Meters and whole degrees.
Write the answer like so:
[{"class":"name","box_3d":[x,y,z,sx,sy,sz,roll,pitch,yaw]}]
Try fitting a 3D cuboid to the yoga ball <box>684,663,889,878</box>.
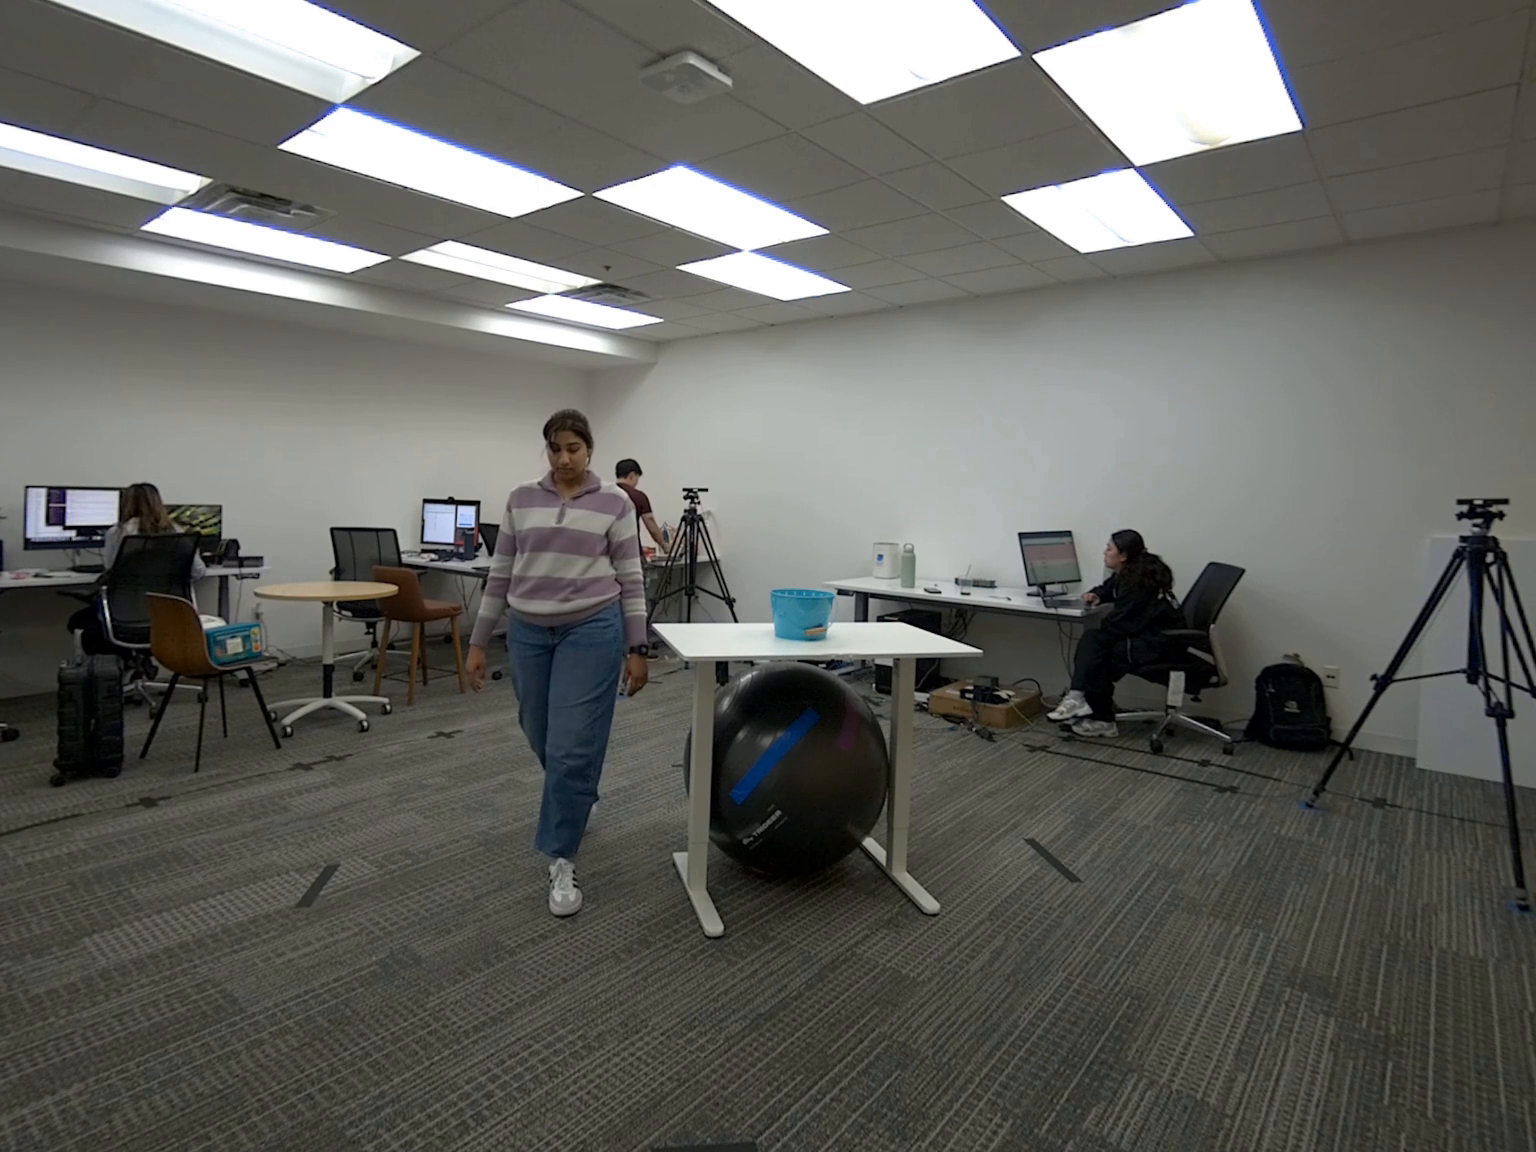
[{"class":"yoga ball","box_3d":[0.063,0.707,3.156,0.757,0.755,0.762,1,4,-2]}]
